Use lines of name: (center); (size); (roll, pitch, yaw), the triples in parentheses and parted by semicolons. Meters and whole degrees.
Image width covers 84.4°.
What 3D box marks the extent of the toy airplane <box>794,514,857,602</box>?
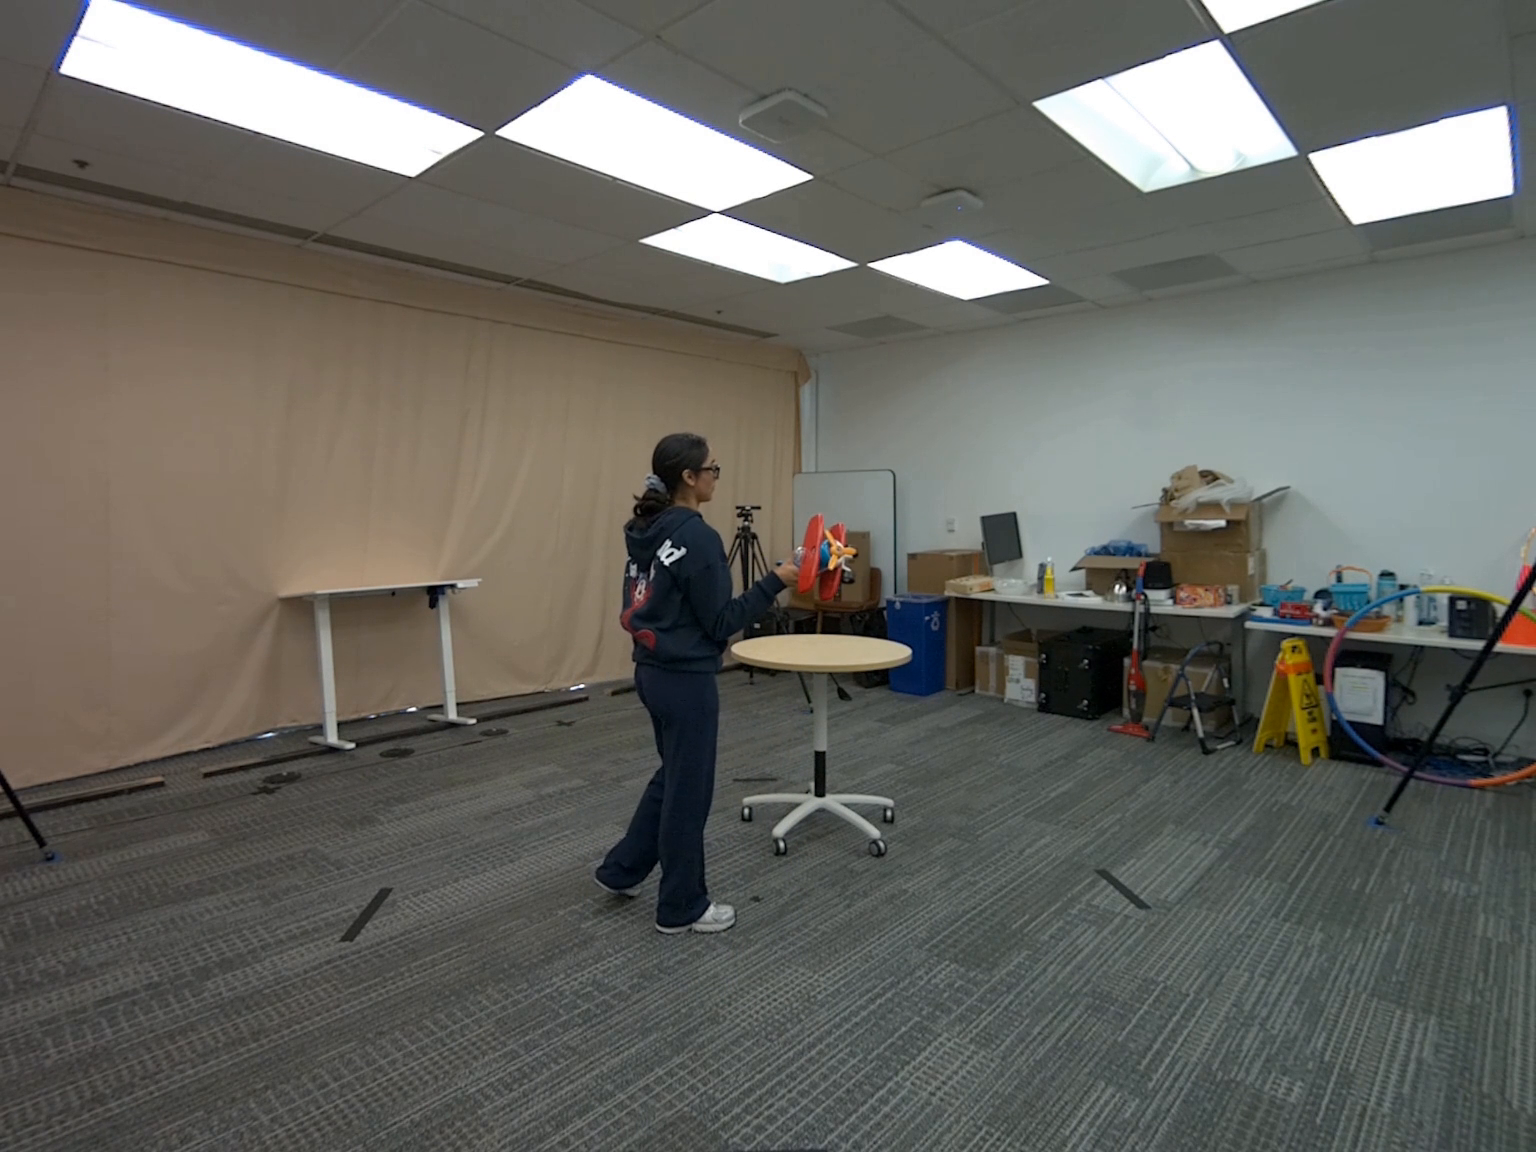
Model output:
toy airplane: (0.150, -0.028, 2.554); (0.151, 0.257, 0.262); (28, -55, -35)
